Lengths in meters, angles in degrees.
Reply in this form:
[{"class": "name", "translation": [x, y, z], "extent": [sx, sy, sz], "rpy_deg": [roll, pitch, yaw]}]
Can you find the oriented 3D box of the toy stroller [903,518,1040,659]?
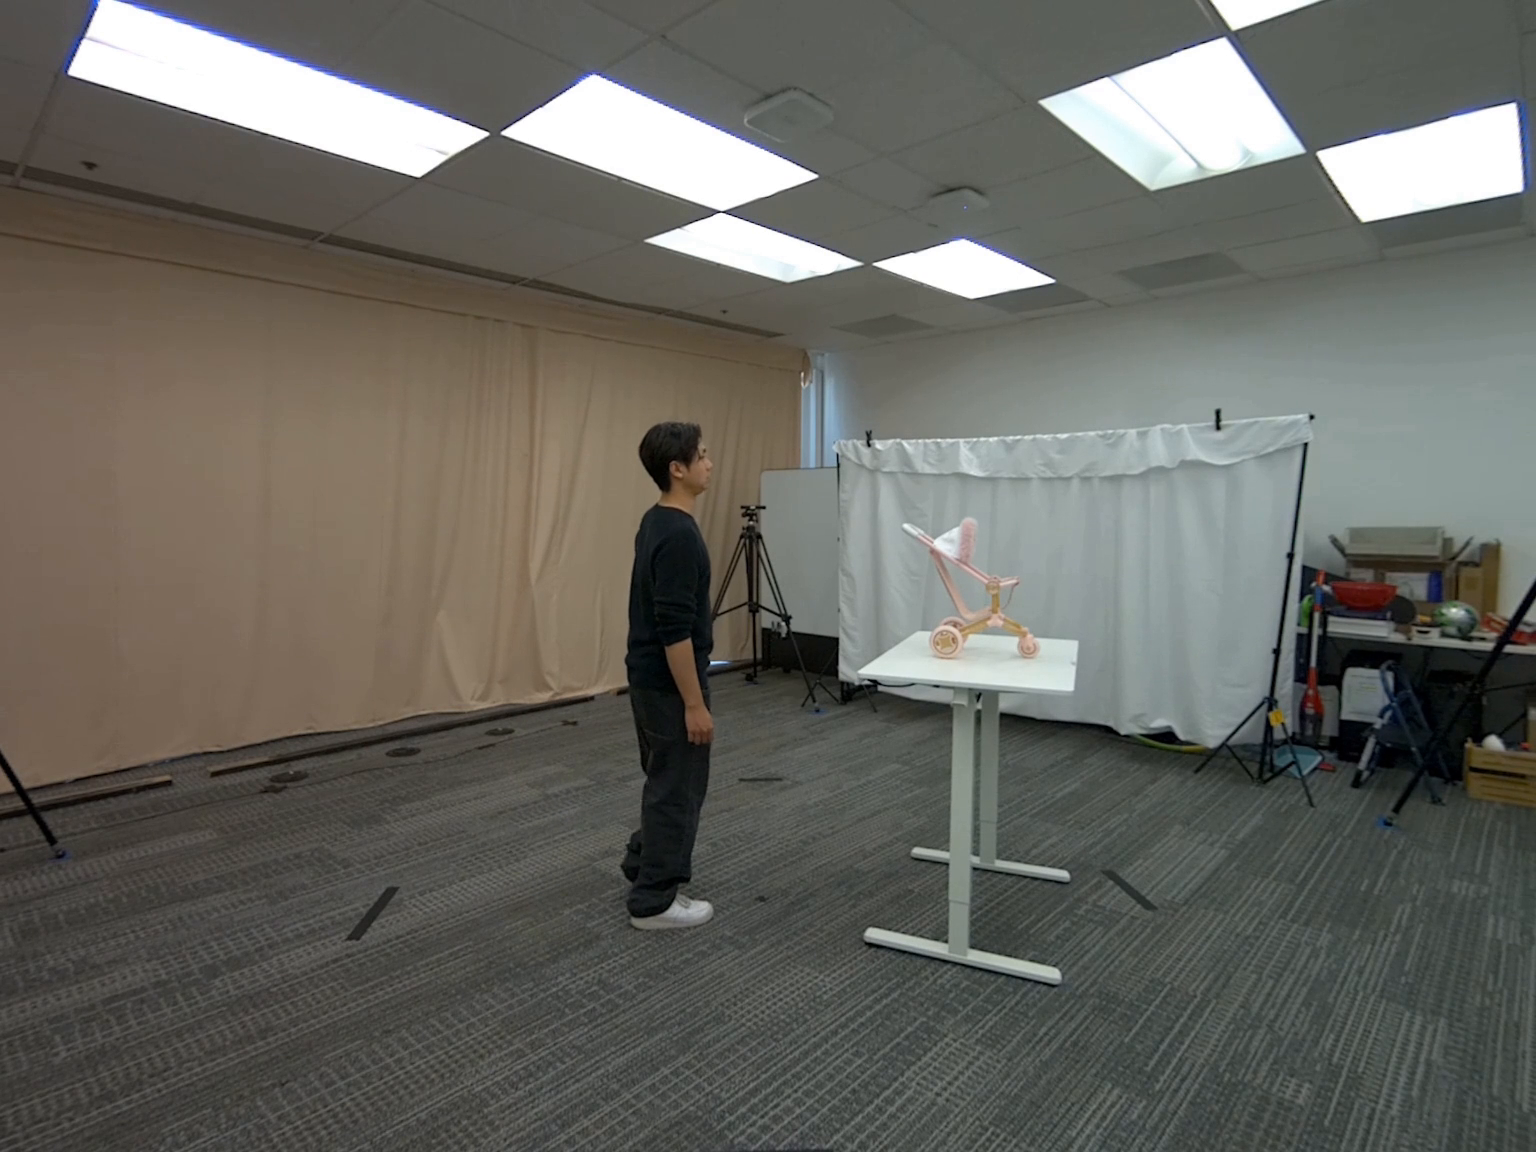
[{"class": "toy stroller", "translation": [0.701, 0.045, 2.862], "extent": [0.348, 0.536, 0.275], "rpy_deg": [-14, -3, 24]}]
